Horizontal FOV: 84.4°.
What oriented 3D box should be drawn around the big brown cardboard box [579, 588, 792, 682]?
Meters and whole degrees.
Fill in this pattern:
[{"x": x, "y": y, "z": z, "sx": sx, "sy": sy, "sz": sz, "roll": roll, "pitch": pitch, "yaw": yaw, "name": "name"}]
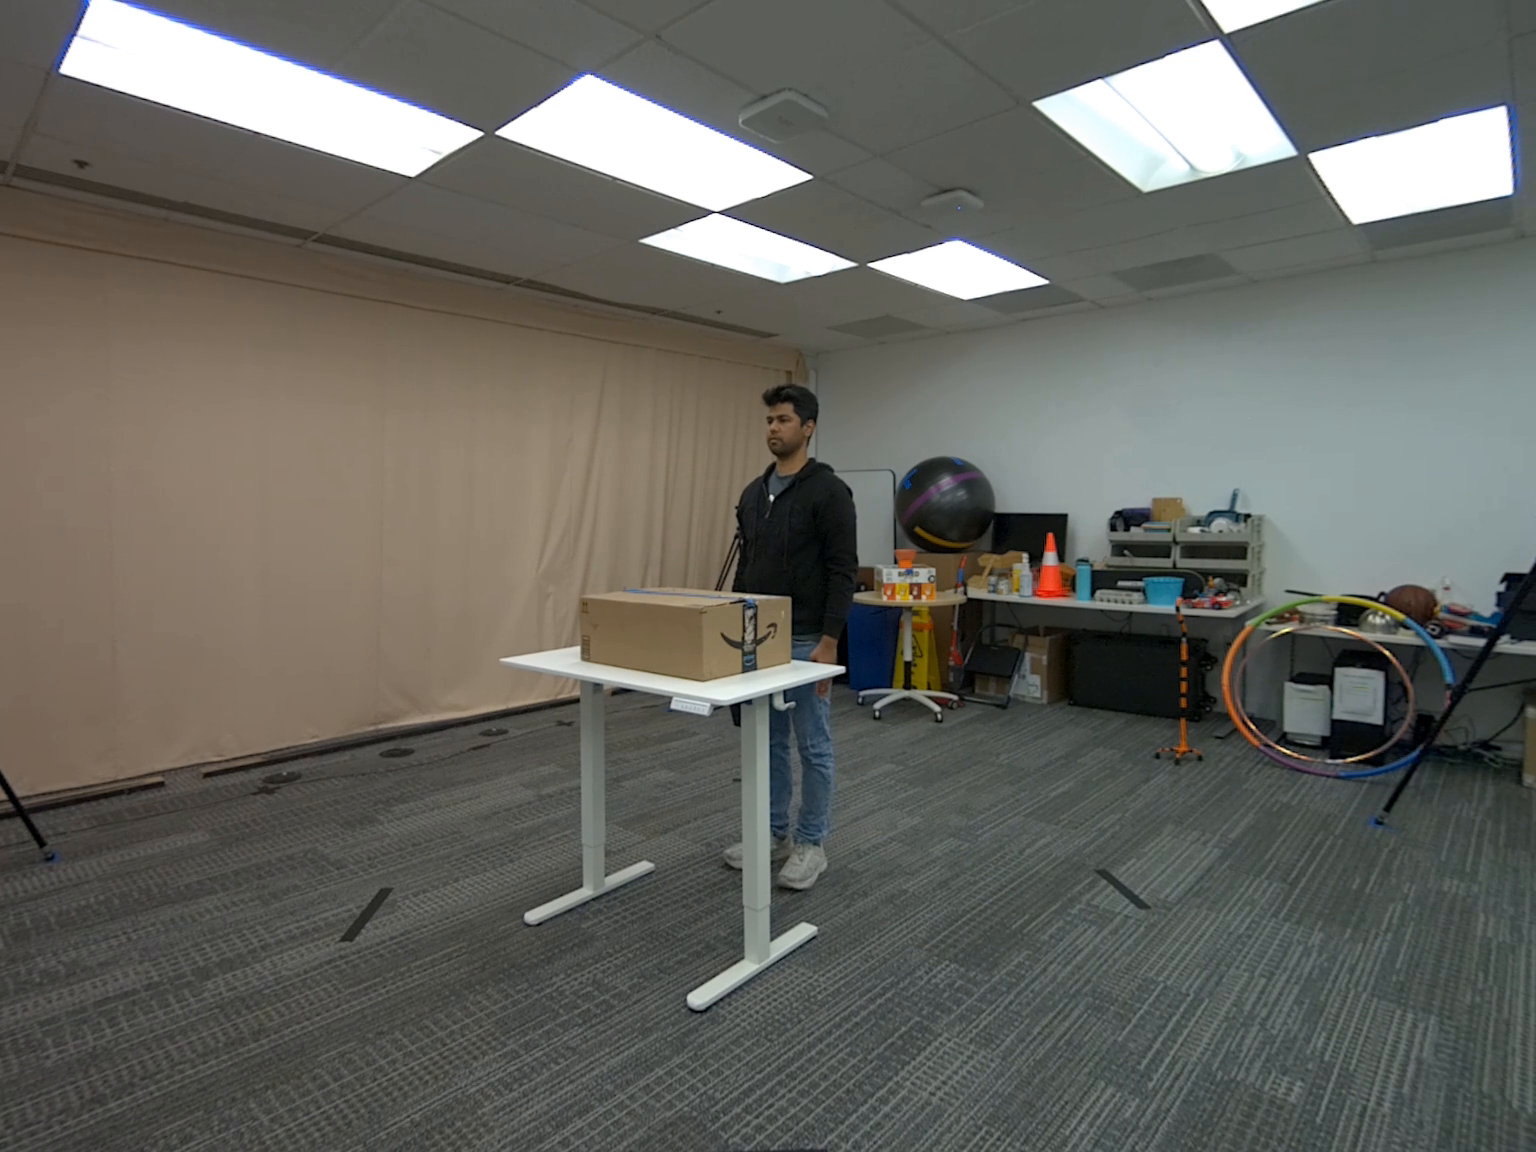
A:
[{"x": -0.268, "y": 0.171, "z": 2.761, "sx": 0.608, "sy": 0.233, "sz": 0.405, "roll": 2, "pitch": 5, "yaw": 41, "name": "big brown cardboard box"}]
